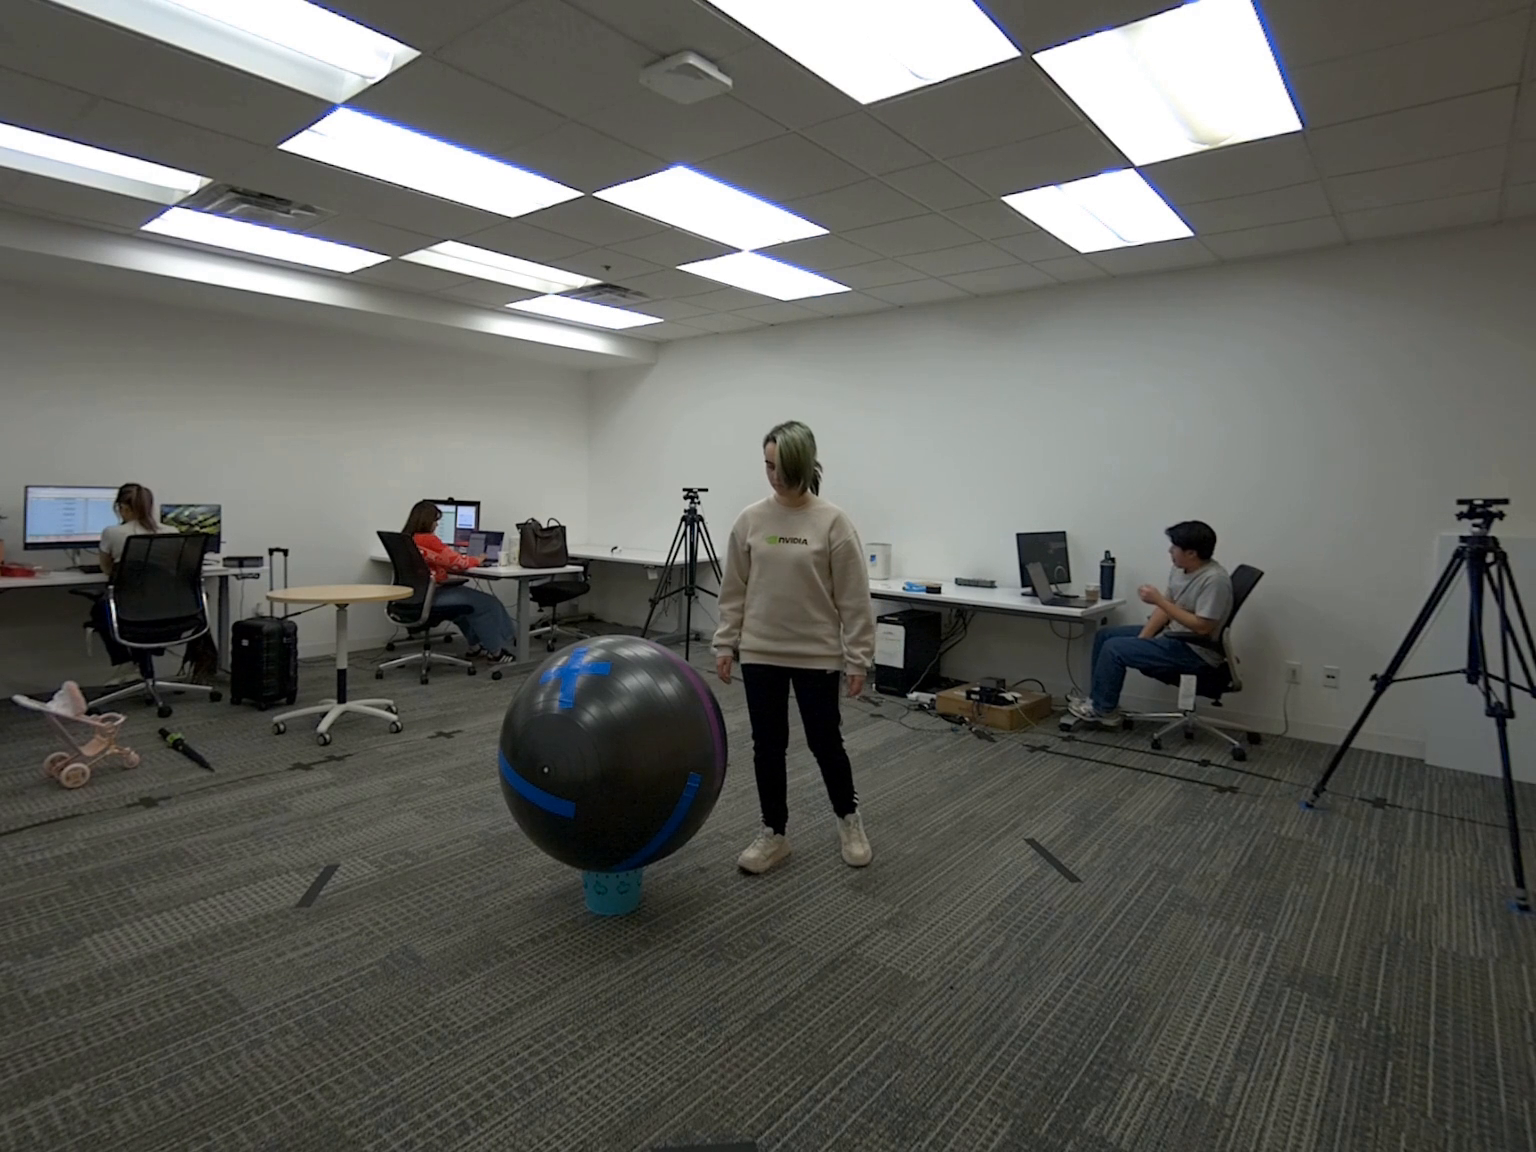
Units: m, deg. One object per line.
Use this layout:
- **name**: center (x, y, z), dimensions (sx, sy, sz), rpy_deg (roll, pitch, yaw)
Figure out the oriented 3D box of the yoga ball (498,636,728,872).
- **yoga ball**: center (-0.516, 0.576, 2.829), dimensions (0.757, 0.756, 0.761), rpy_deg (1, 4, -2)
